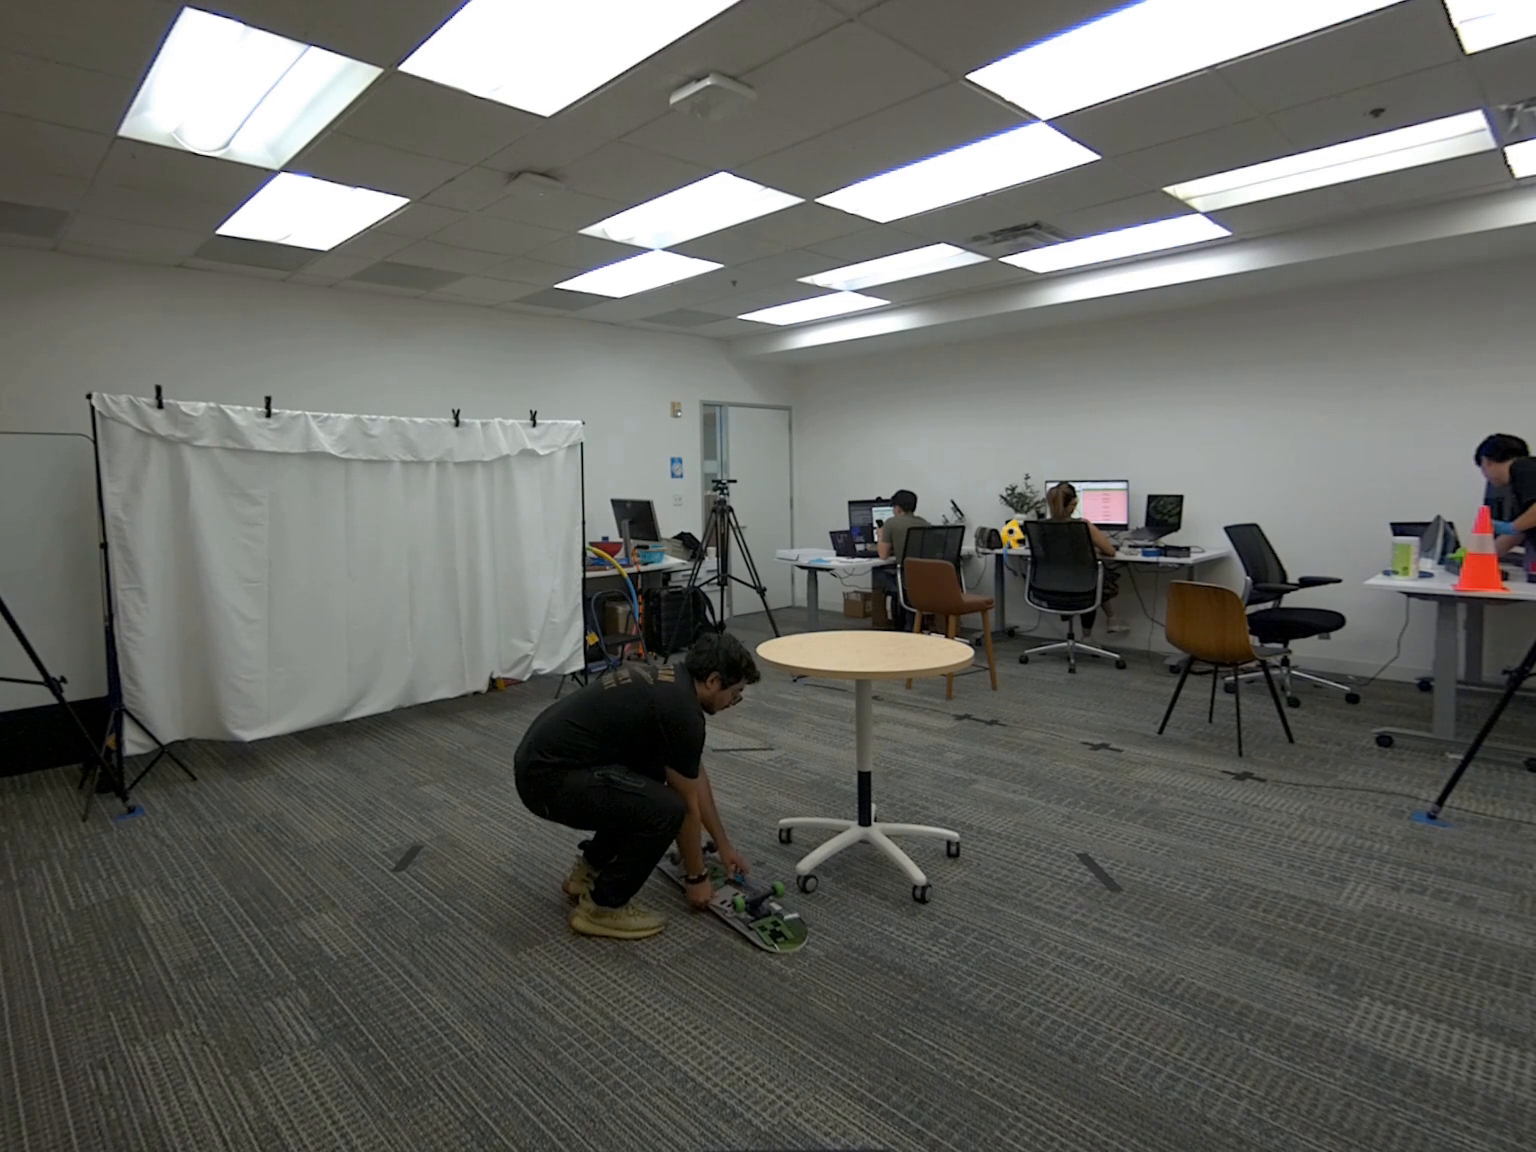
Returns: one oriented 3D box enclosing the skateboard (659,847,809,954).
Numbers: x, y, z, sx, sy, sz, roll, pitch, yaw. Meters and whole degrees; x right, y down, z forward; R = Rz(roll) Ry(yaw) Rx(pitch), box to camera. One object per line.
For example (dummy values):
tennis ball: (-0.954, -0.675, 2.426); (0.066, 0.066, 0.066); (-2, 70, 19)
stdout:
skateboard: (-0.143, 1.024, 2.857); (0.189, 0.110, 0.809); (-7, 9, -34)
